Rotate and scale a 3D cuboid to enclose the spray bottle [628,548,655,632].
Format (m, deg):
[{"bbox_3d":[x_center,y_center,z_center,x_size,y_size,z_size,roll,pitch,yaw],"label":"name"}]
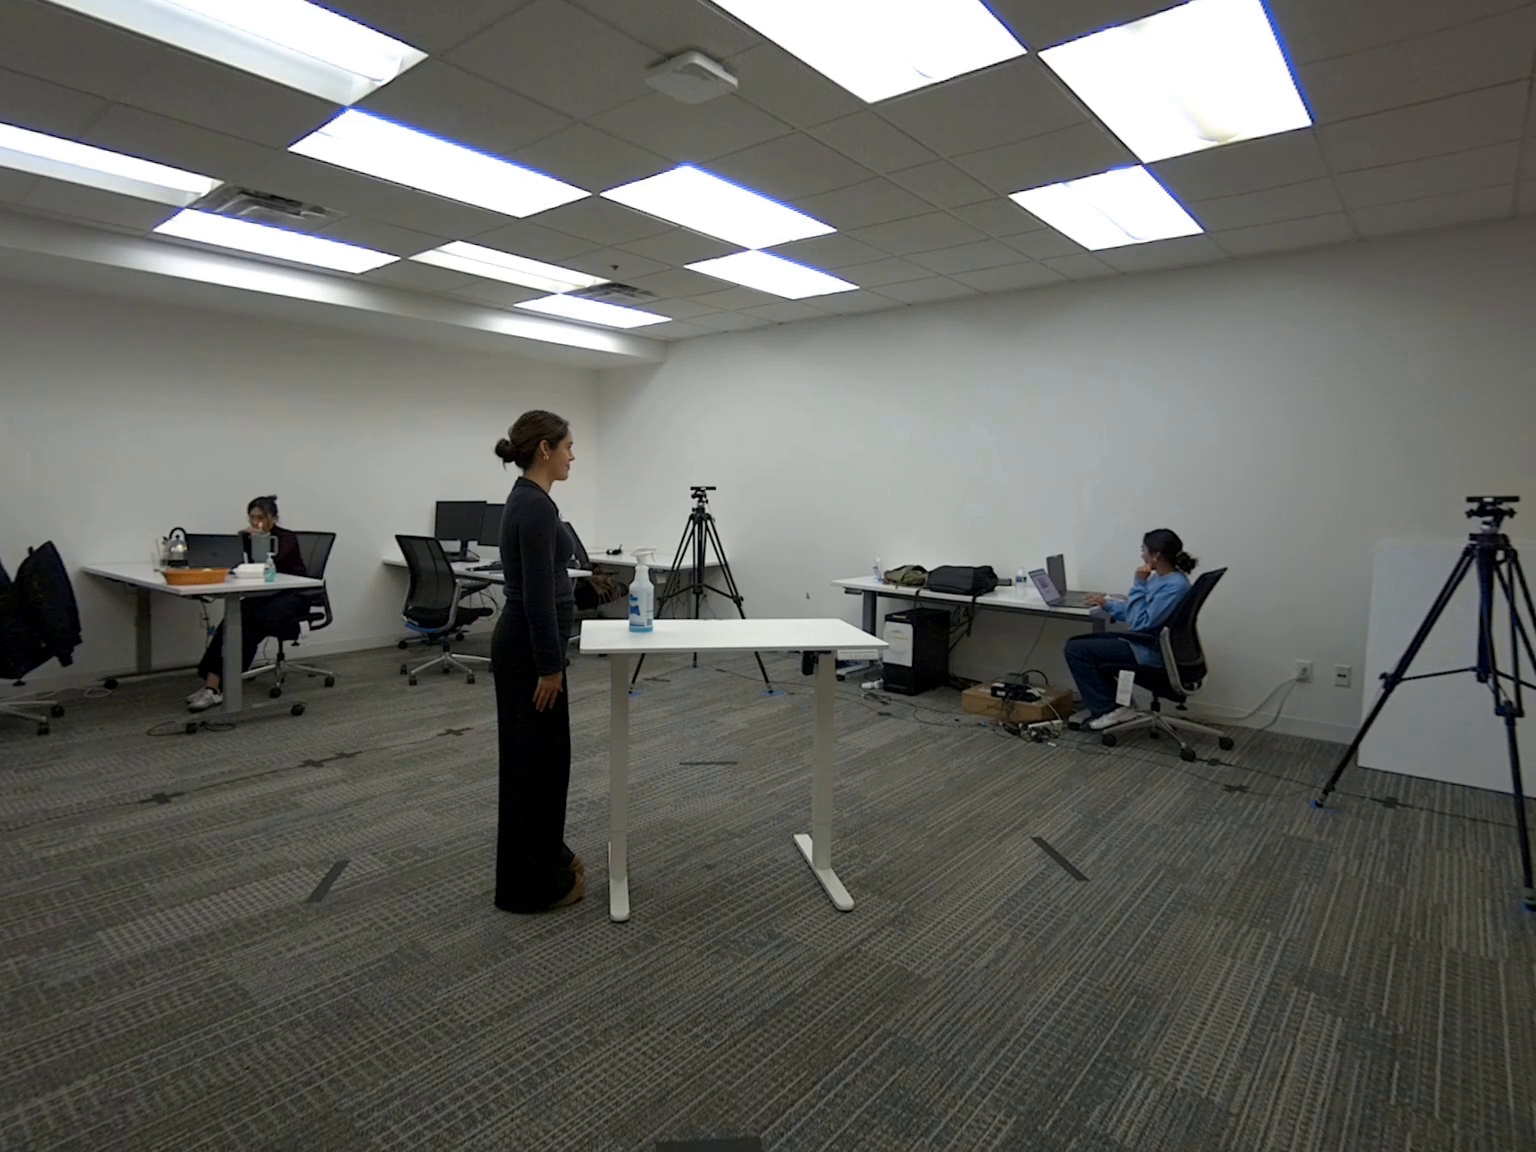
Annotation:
[{"bbox_3d":[-0.461,0.048,2.997,0.091,0.297,0.086,2,2,11],"label":"spray bottle"}]
